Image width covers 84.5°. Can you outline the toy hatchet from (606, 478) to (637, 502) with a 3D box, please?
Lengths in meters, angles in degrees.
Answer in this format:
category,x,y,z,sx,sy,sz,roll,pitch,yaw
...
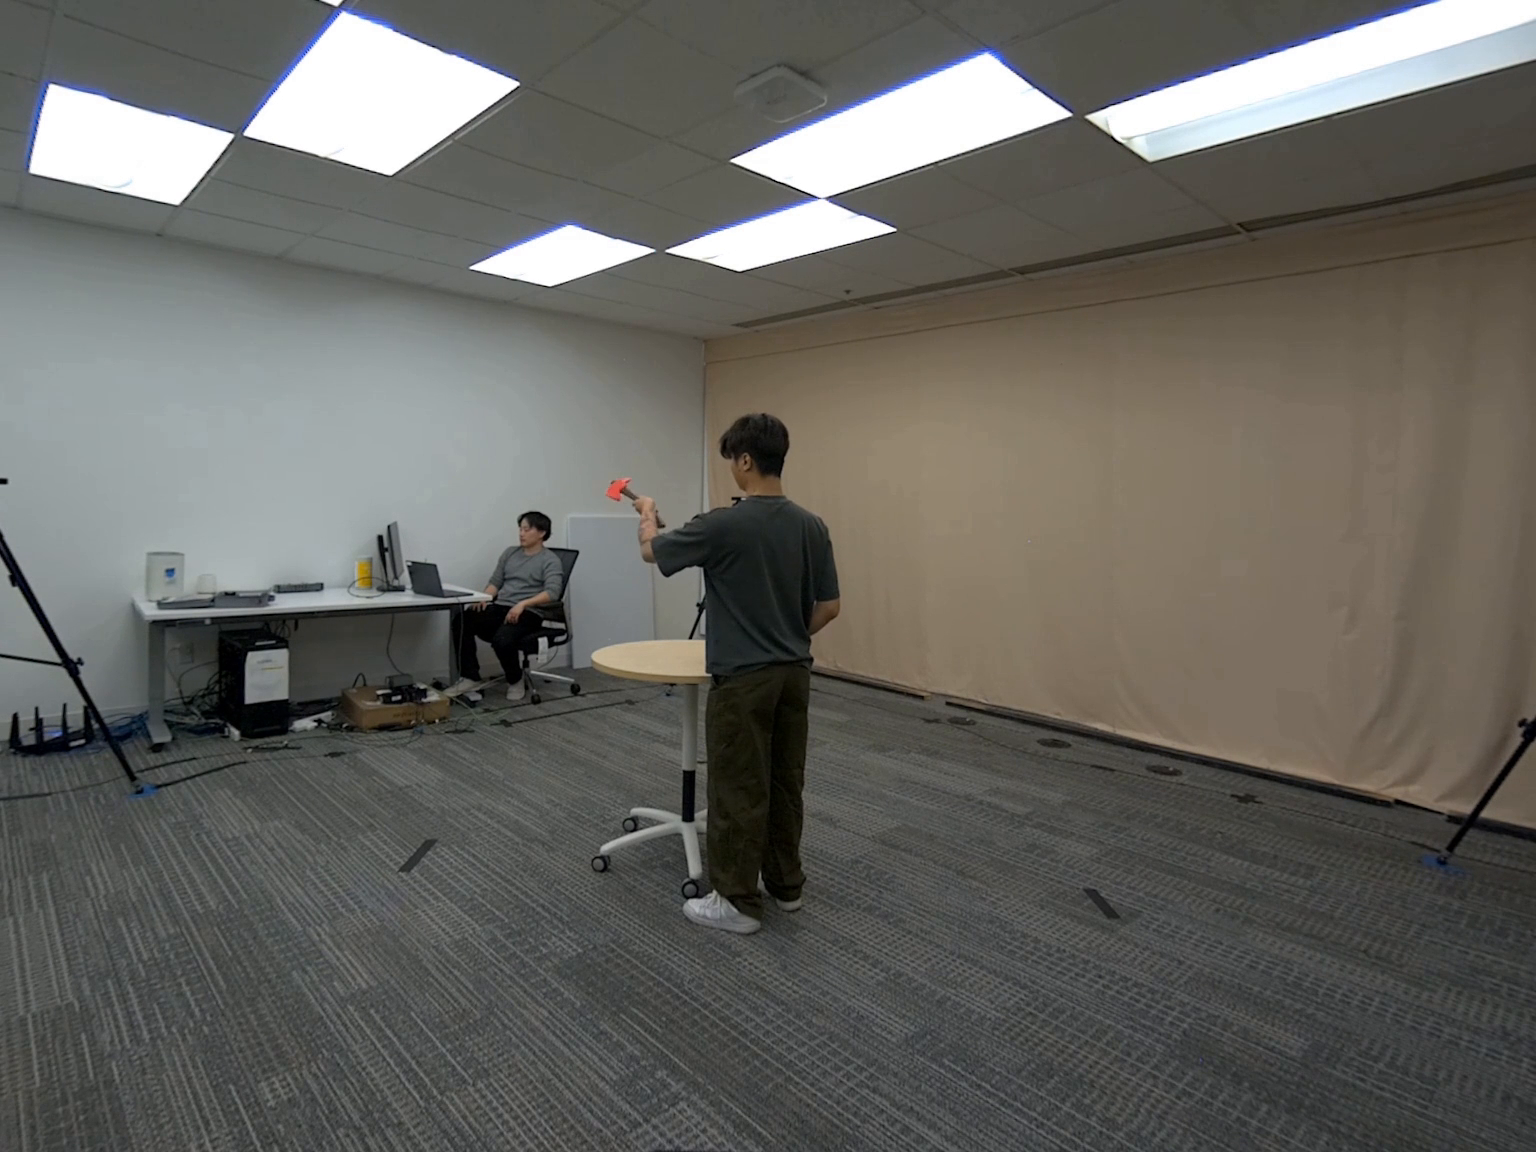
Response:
category,x,y,z,sx,sy,sz,roll,pitch,yaw
toy hatchet,-0.489,-0.255,3.057,0.129,0.029,0.277,-21,58,-37
